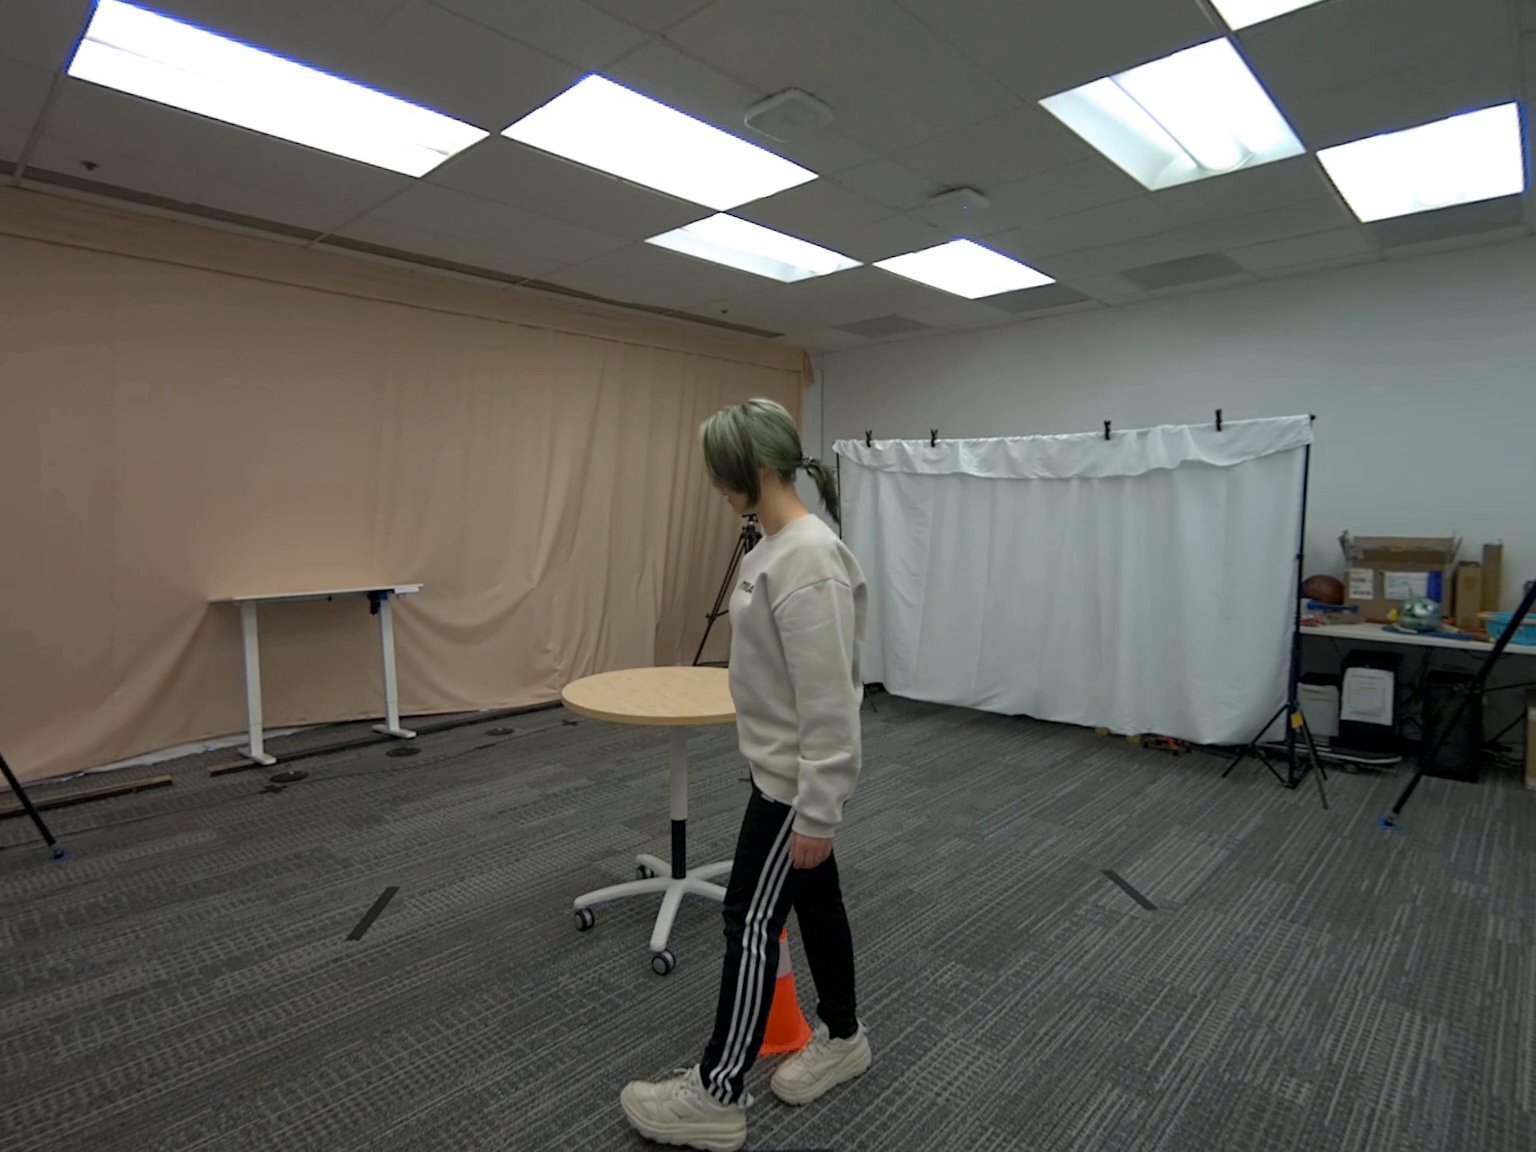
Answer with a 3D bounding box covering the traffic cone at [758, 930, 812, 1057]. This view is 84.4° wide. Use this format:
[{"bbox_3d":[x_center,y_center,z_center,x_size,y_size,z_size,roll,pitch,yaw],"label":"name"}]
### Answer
[{"bbox_3d":[0.017,1.026,2.222,0.201,0.382,0.208,-2,5,-12],"label":"traffic cone"}]
